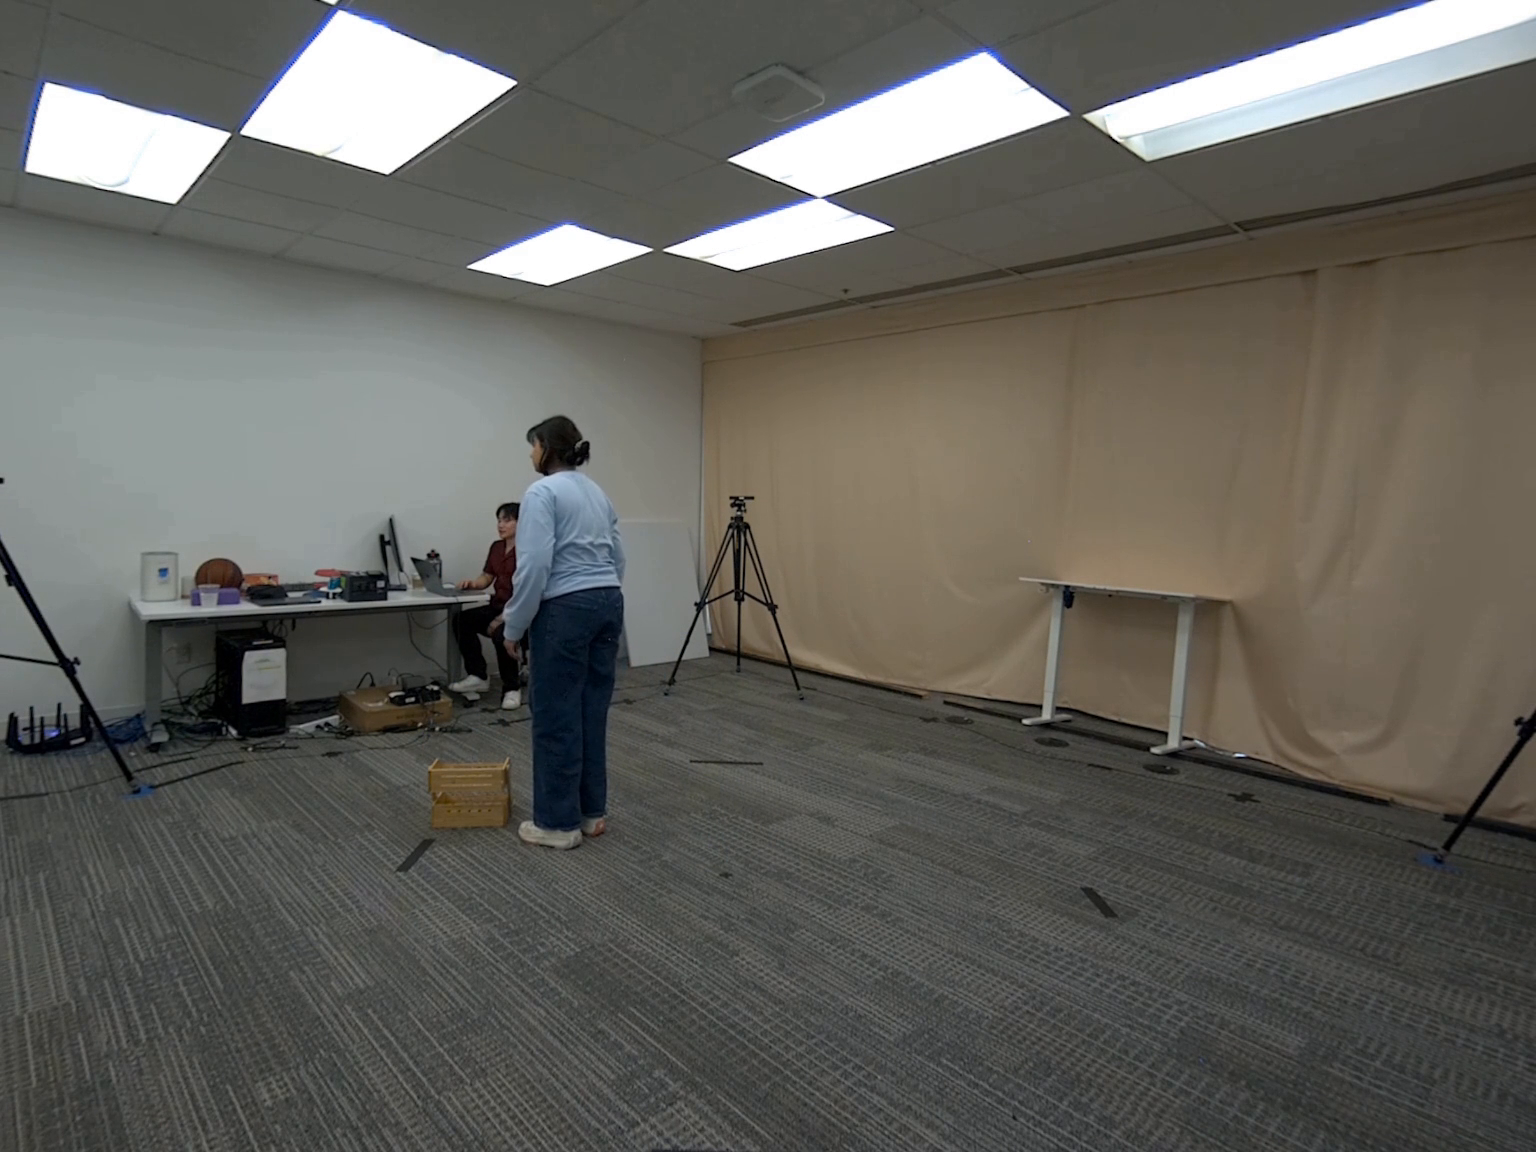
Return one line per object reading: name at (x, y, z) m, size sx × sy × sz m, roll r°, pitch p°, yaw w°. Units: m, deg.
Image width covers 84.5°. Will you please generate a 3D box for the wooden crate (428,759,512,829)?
wooden crate at (-1.268, 0.896, 3.601) m, size 0.323 × 0.272 × 0.305 m, roll 1°, pitch 5°, yaw -7°
